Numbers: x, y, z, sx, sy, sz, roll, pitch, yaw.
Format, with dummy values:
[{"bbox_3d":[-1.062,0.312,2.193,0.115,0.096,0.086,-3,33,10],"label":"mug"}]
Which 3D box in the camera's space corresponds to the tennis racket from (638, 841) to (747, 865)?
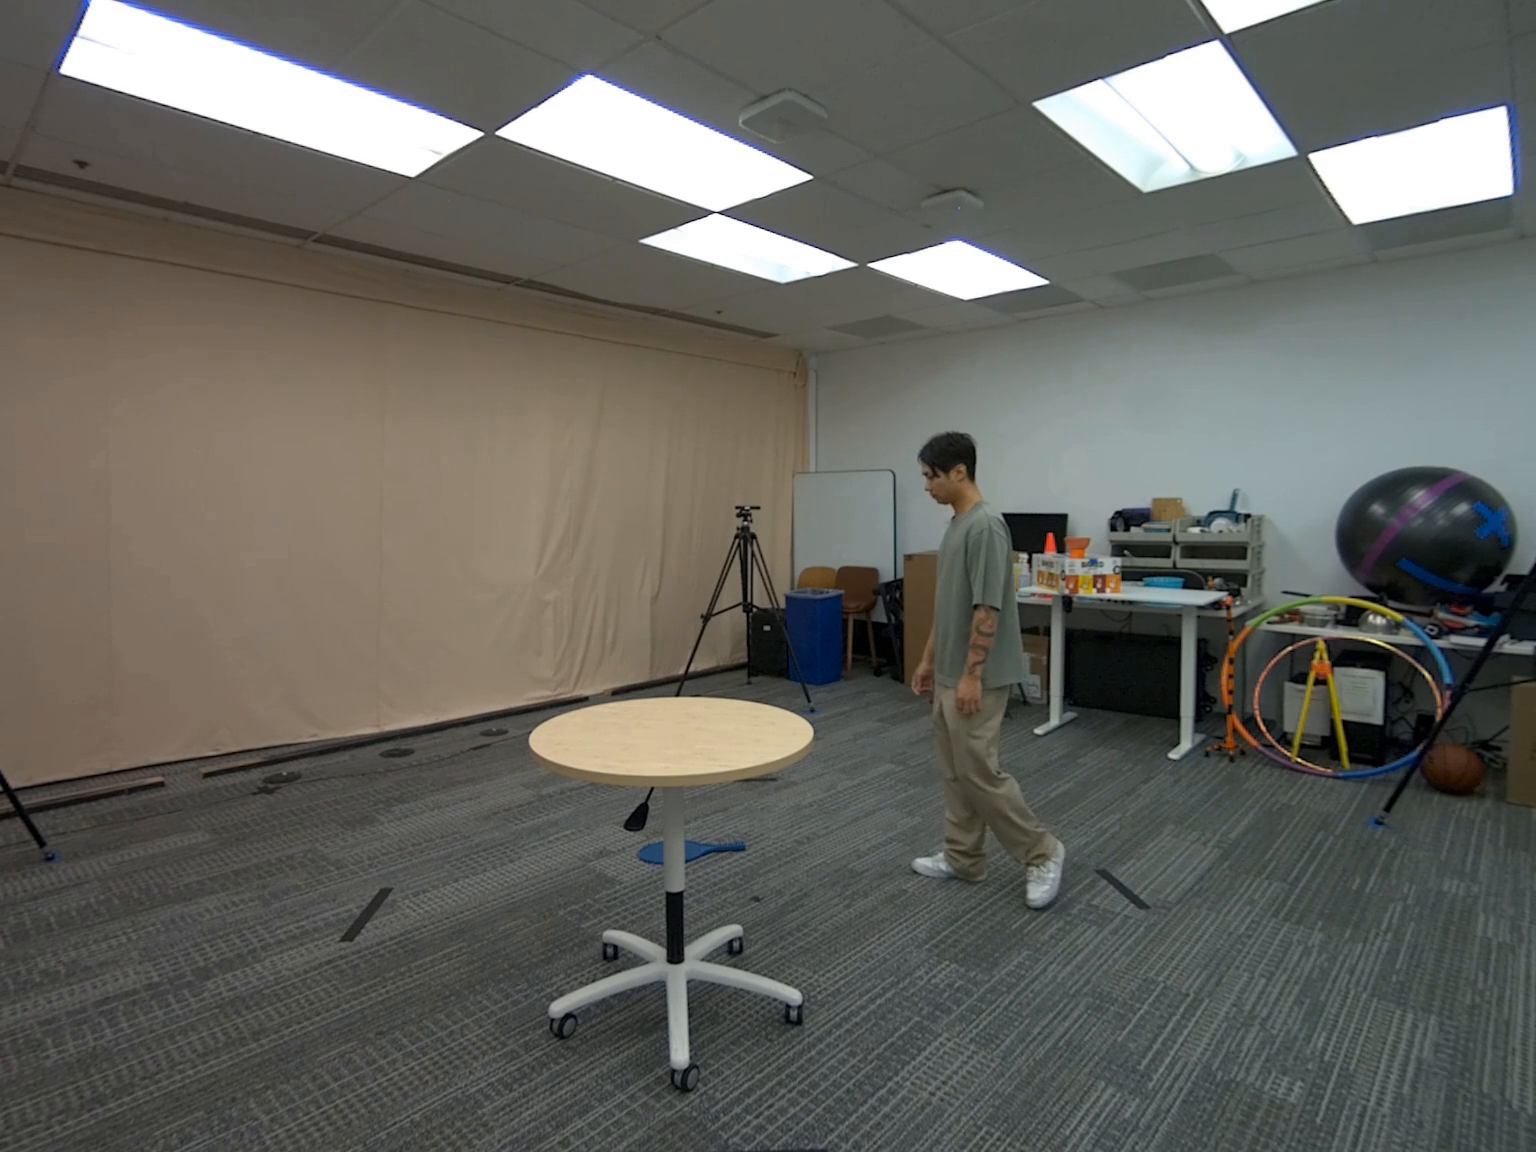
[{"bbox_3d":[-0.301,1.096,3.384,0.429,0.032,0.216,-2,4,-8],"label":"tennis racket"}]
